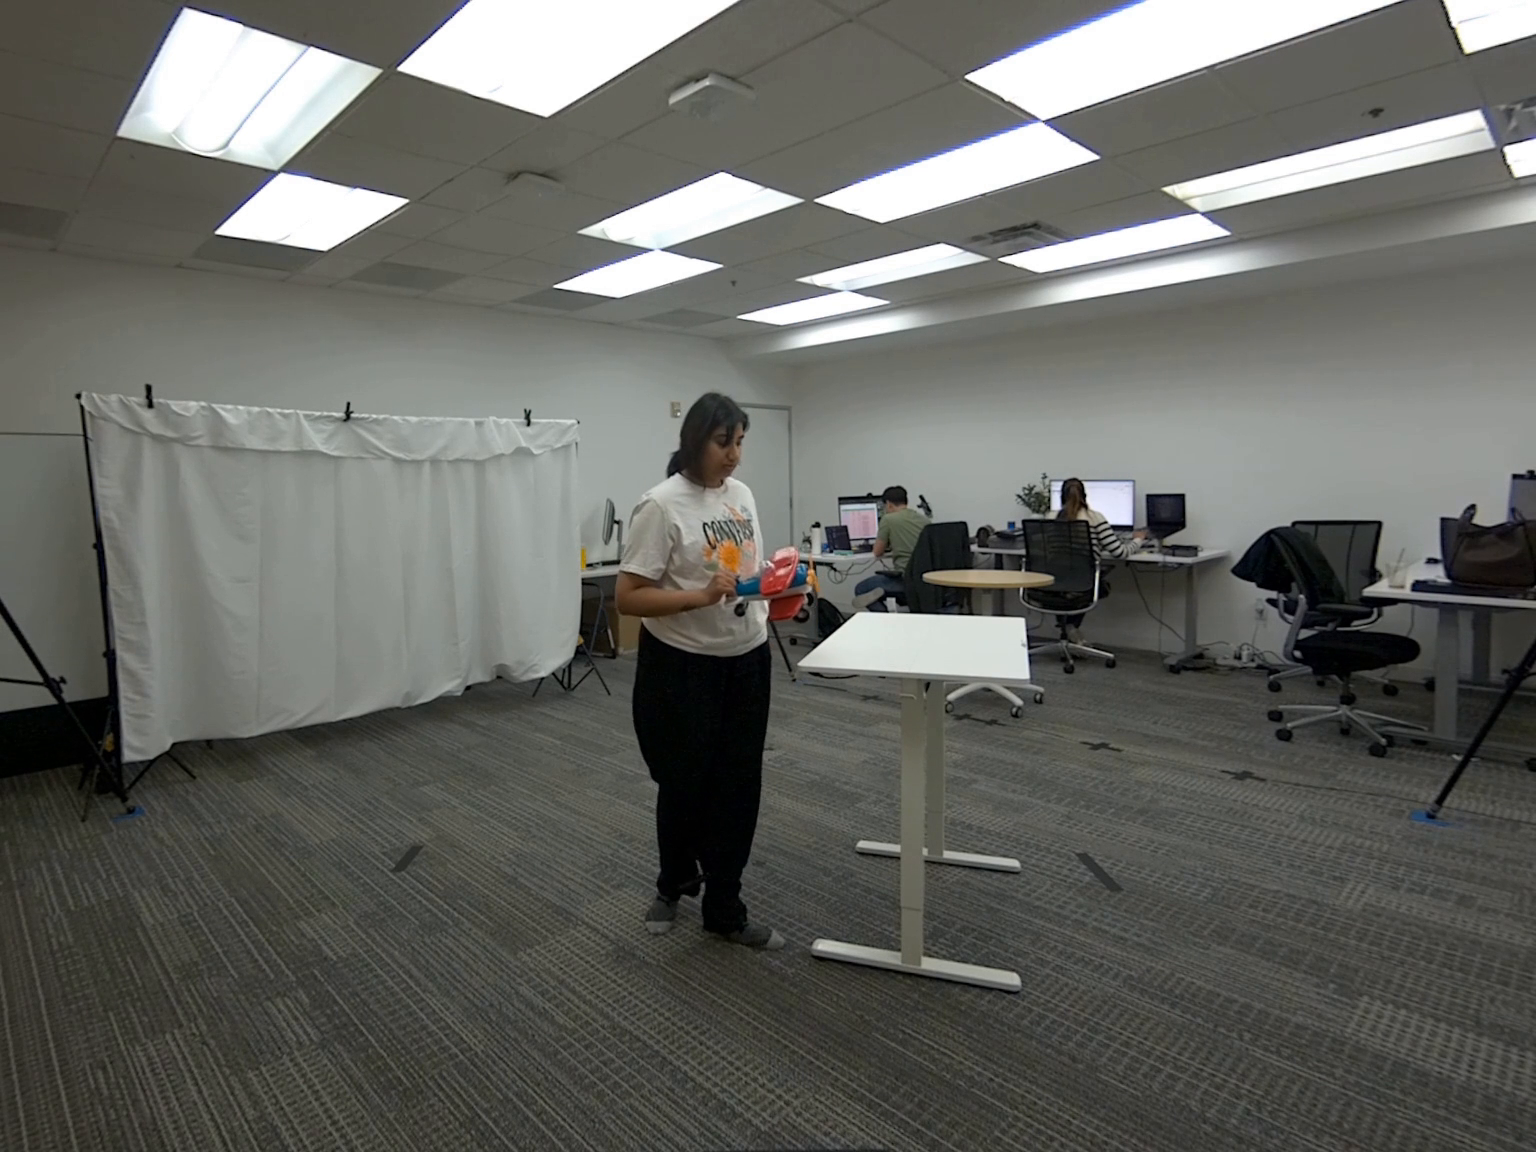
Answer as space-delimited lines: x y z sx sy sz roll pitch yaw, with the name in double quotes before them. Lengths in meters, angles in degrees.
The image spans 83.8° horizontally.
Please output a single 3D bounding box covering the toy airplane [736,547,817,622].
"toy airplane" -0.001 0.048 2.347 0.257 0.153 0.260 -13 28 -13
